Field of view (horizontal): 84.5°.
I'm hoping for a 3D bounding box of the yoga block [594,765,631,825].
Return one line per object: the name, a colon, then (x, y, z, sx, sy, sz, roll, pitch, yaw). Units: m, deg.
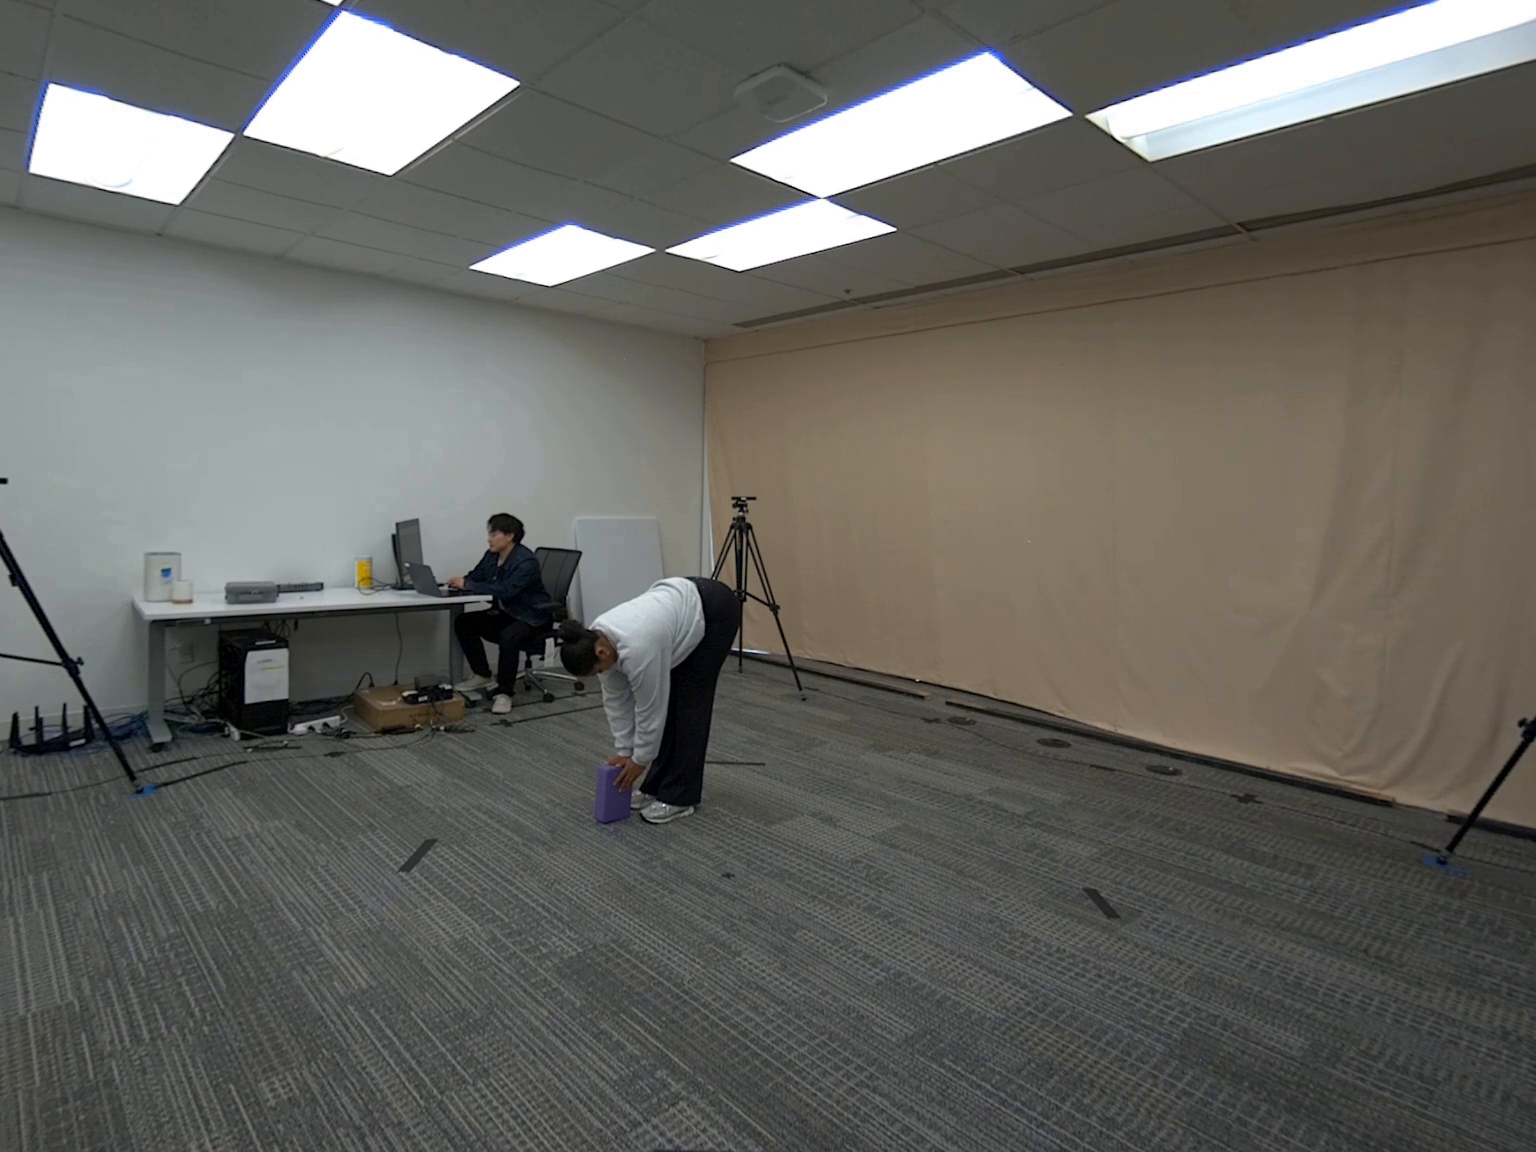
yoga block: (-0.669, 0.928, 3.621, 0.078, 0.229, 0.145, 4, 1, 42)
